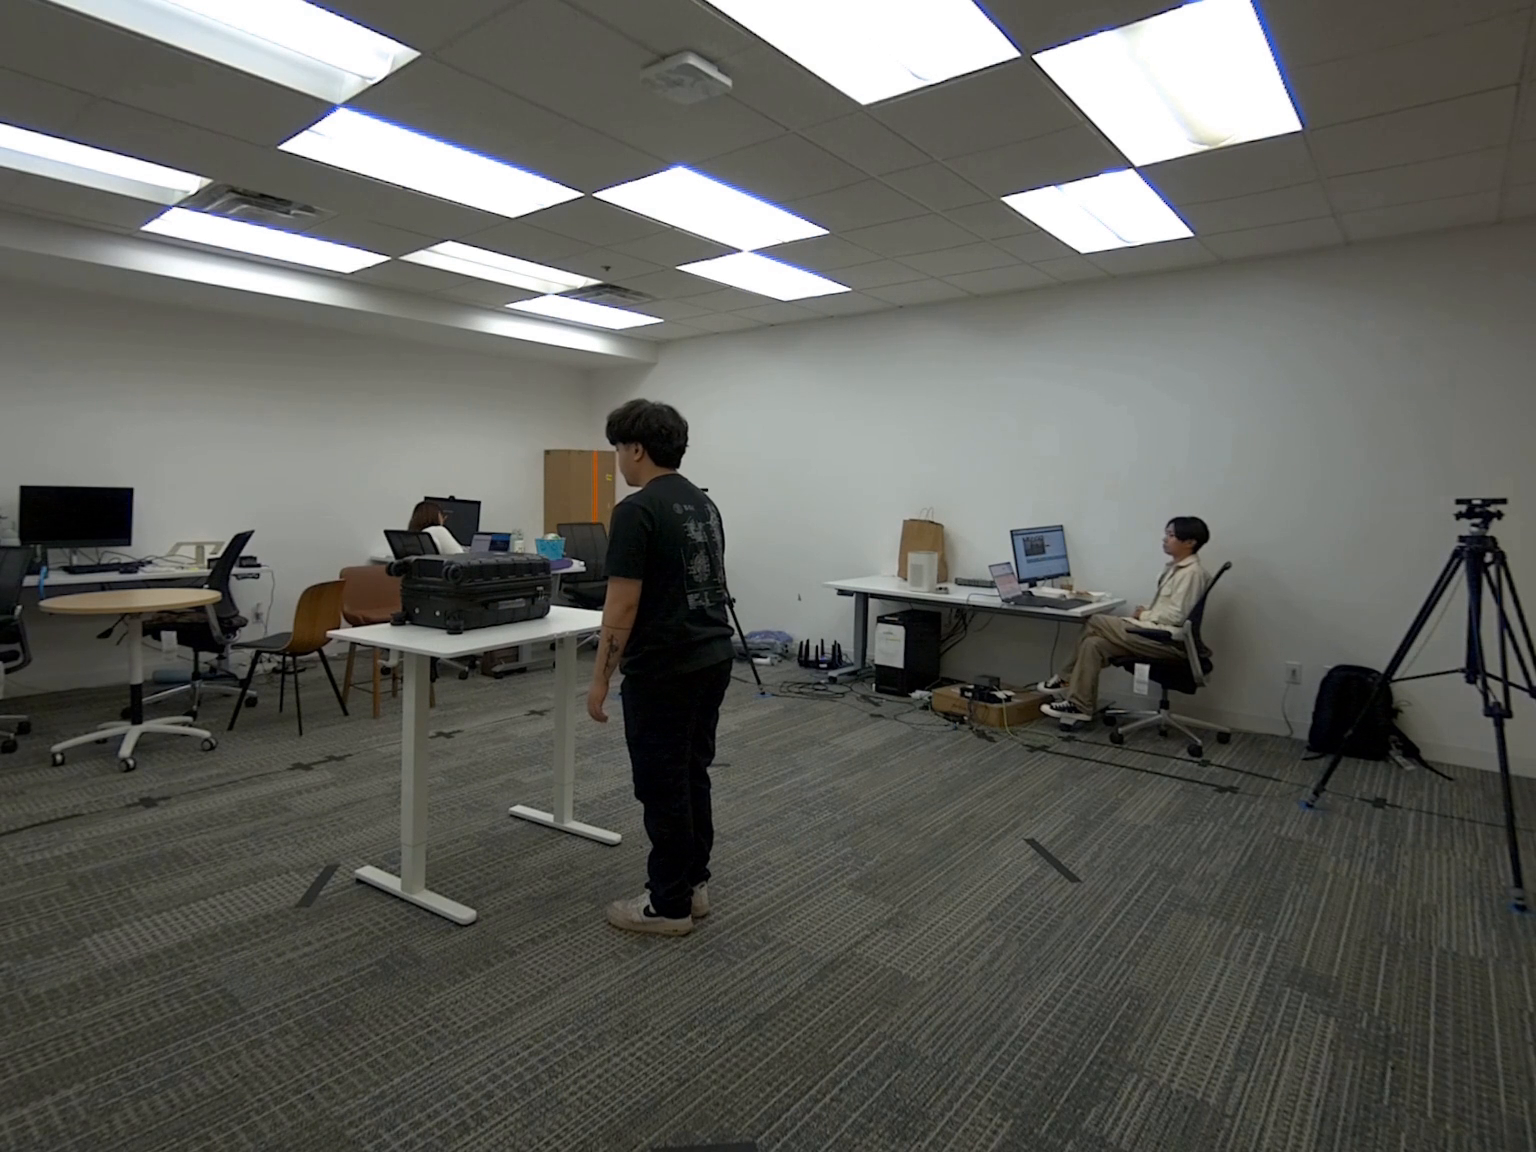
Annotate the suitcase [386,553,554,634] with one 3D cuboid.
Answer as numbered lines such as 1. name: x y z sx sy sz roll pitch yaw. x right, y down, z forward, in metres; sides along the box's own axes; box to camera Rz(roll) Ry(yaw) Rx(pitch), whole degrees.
1. suitcase: -1.099 0.049 3.176 0.386 0.247 0.536 3 5 29
